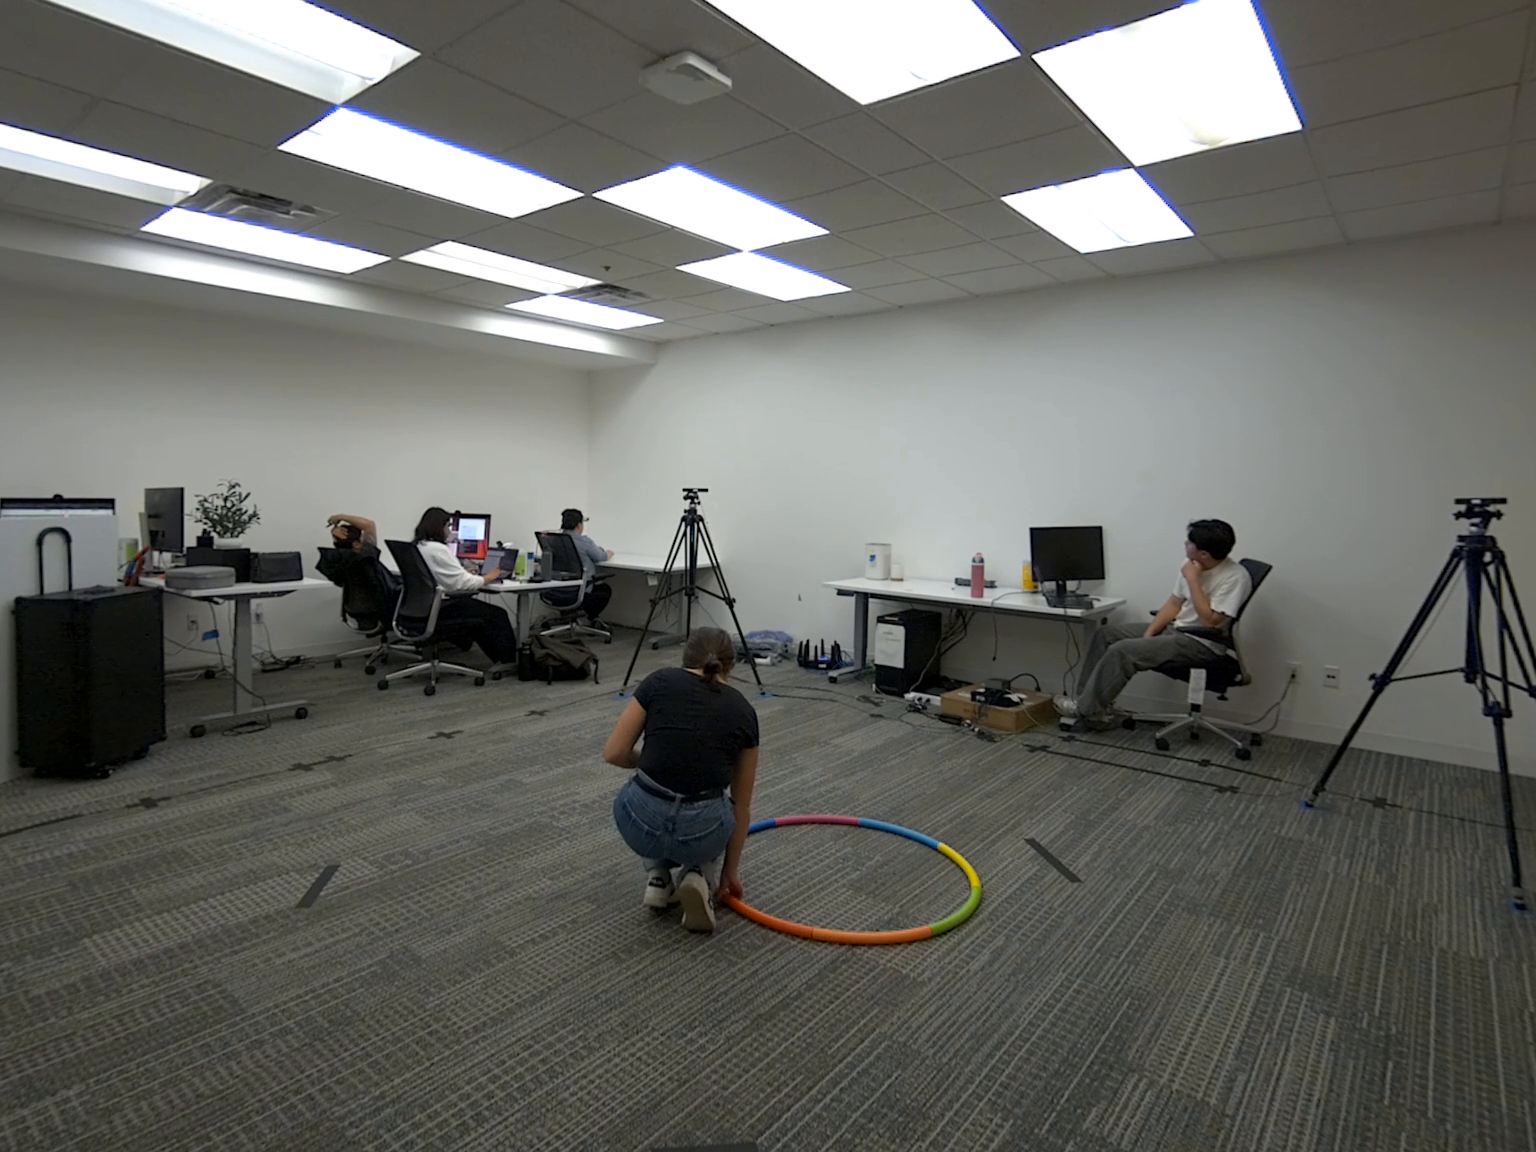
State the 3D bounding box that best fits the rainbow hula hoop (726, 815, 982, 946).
[{"bbox_3d":[0.263,1.048,3.094,0.978,0.035,0.984,0,6,-2],"label":"rainbow hula hoop"}]
